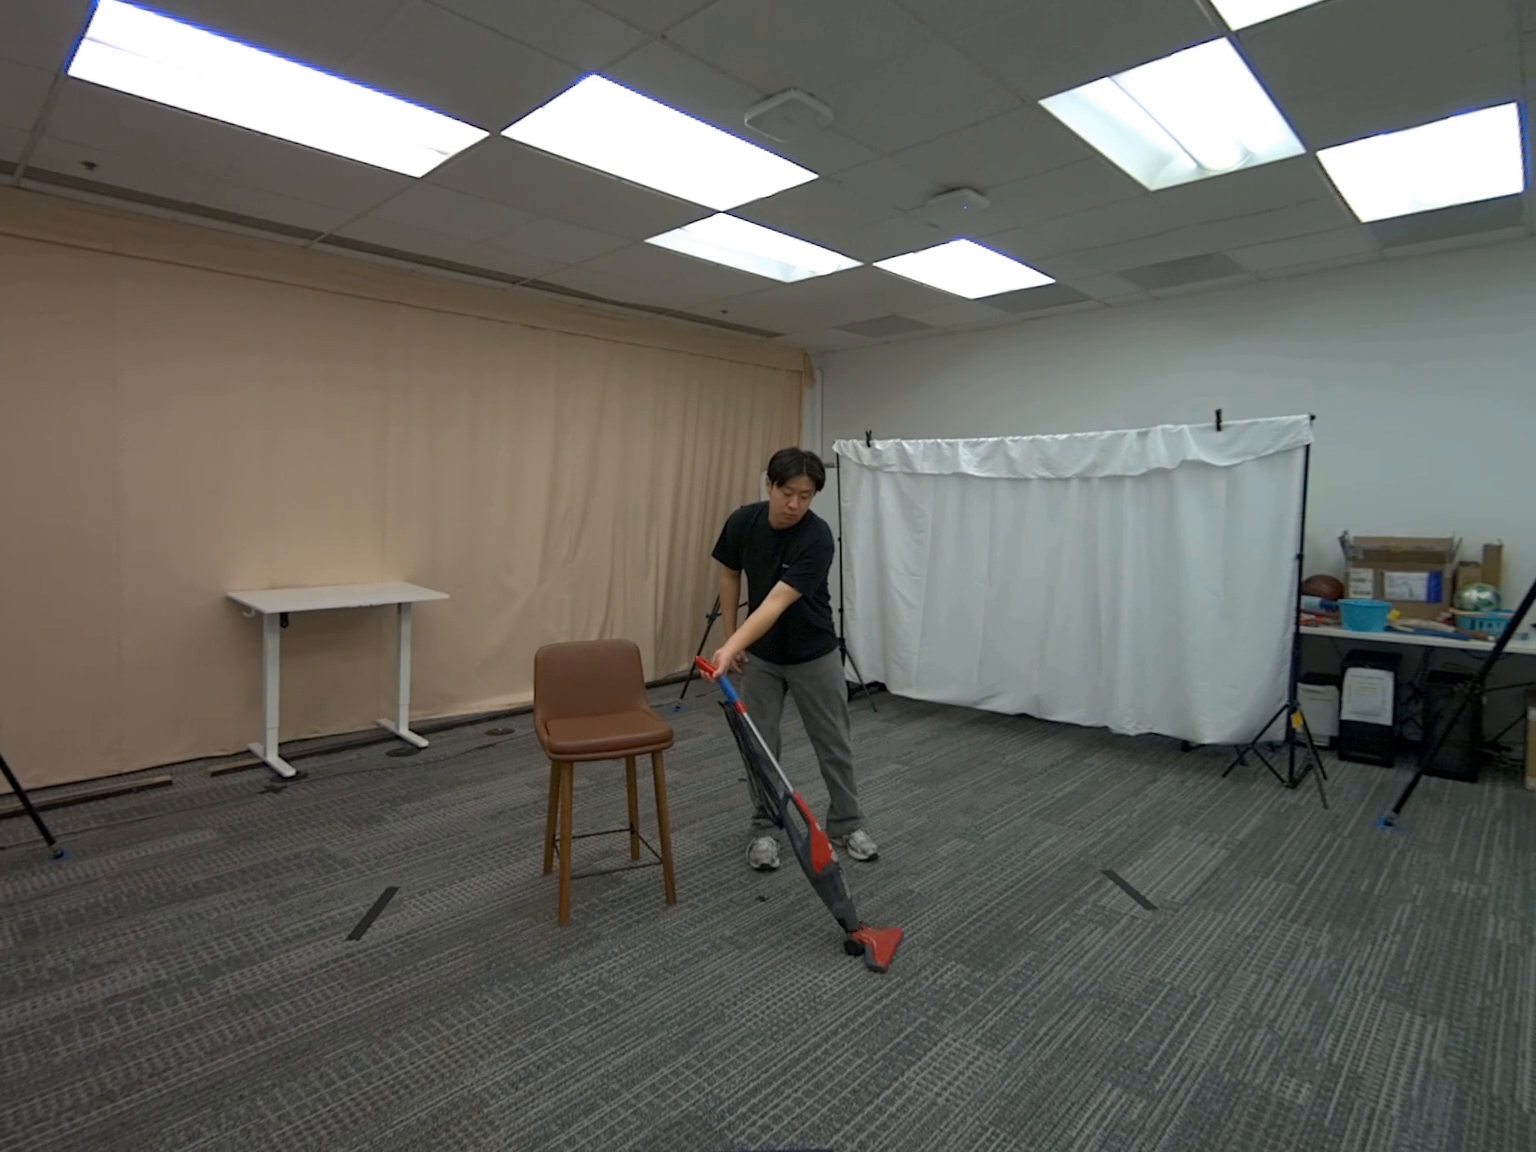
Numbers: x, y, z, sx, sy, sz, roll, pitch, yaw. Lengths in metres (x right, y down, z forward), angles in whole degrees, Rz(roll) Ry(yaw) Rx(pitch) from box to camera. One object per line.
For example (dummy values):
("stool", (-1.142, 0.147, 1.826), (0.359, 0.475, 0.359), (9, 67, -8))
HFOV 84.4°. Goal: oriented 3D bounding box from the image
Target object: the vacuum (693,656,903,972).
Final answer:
("vacuum", (0.059, 0.721, 2.753), (0.145, 1.064, 0.246), (-38, -14, 24))
